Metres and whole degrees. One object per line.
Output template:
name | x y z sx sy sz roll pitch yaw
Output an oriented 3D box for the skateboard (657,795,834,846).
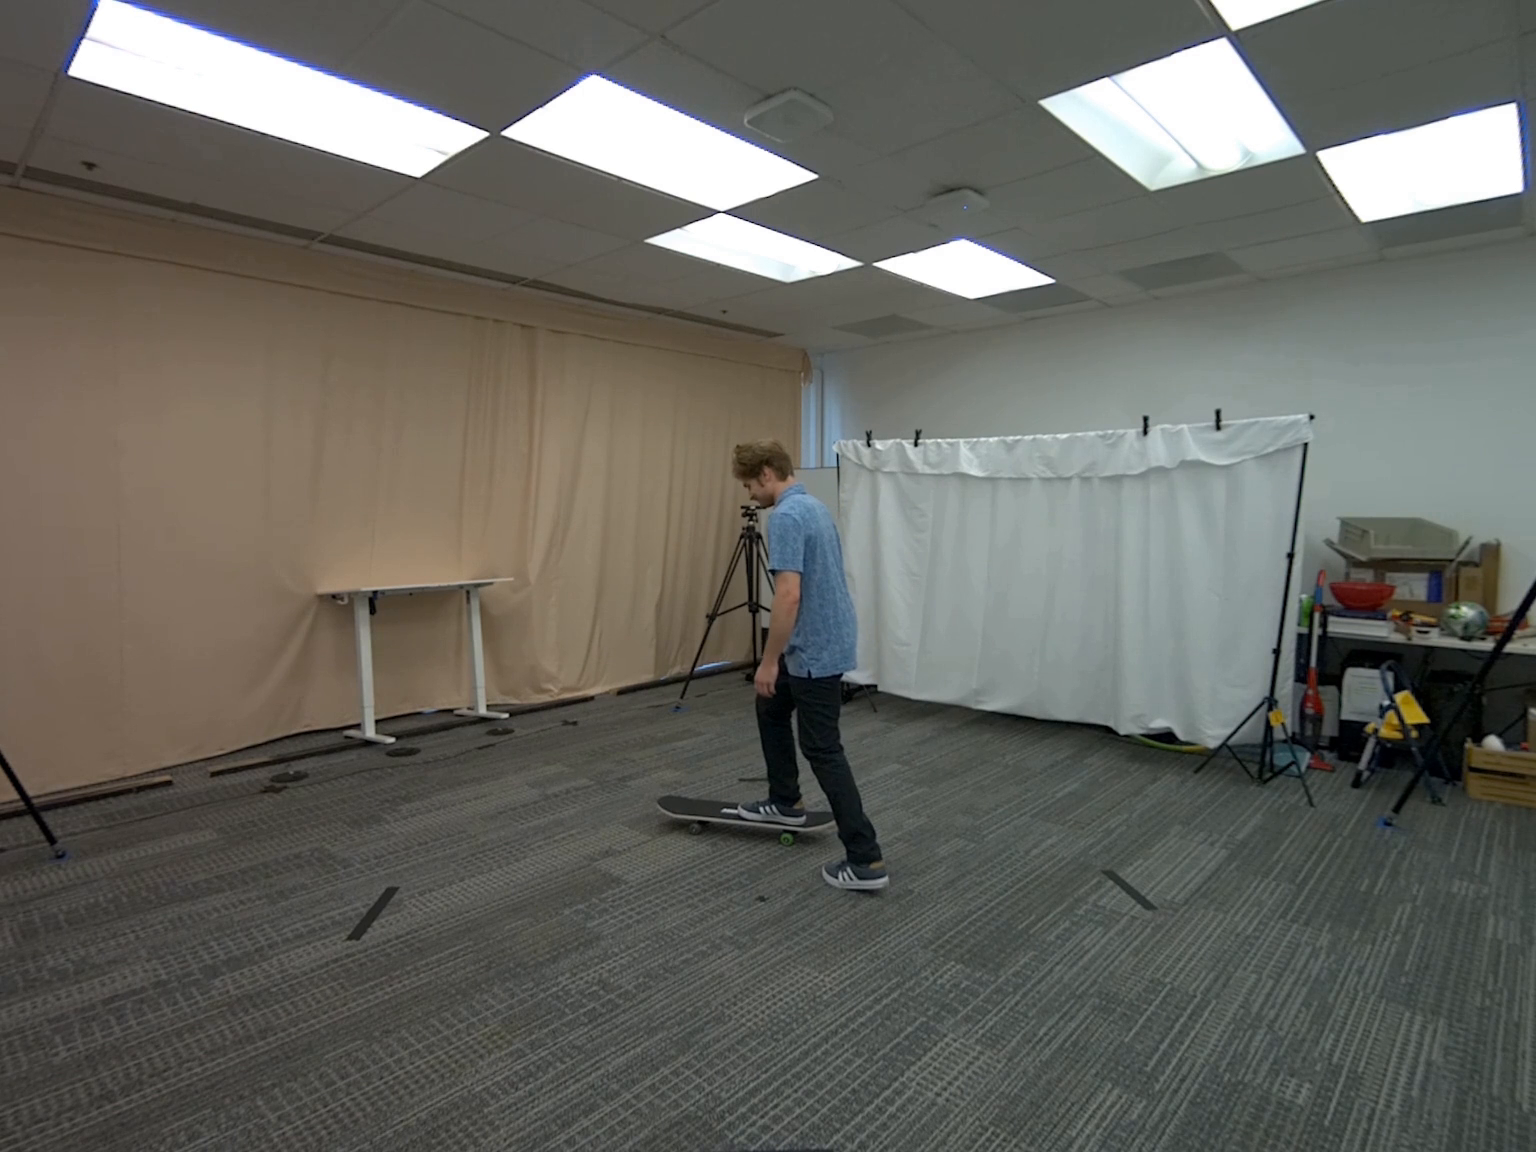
skateboard | -0.100 1.033 3.580 0.799 0.110 0.191 1 6 16
